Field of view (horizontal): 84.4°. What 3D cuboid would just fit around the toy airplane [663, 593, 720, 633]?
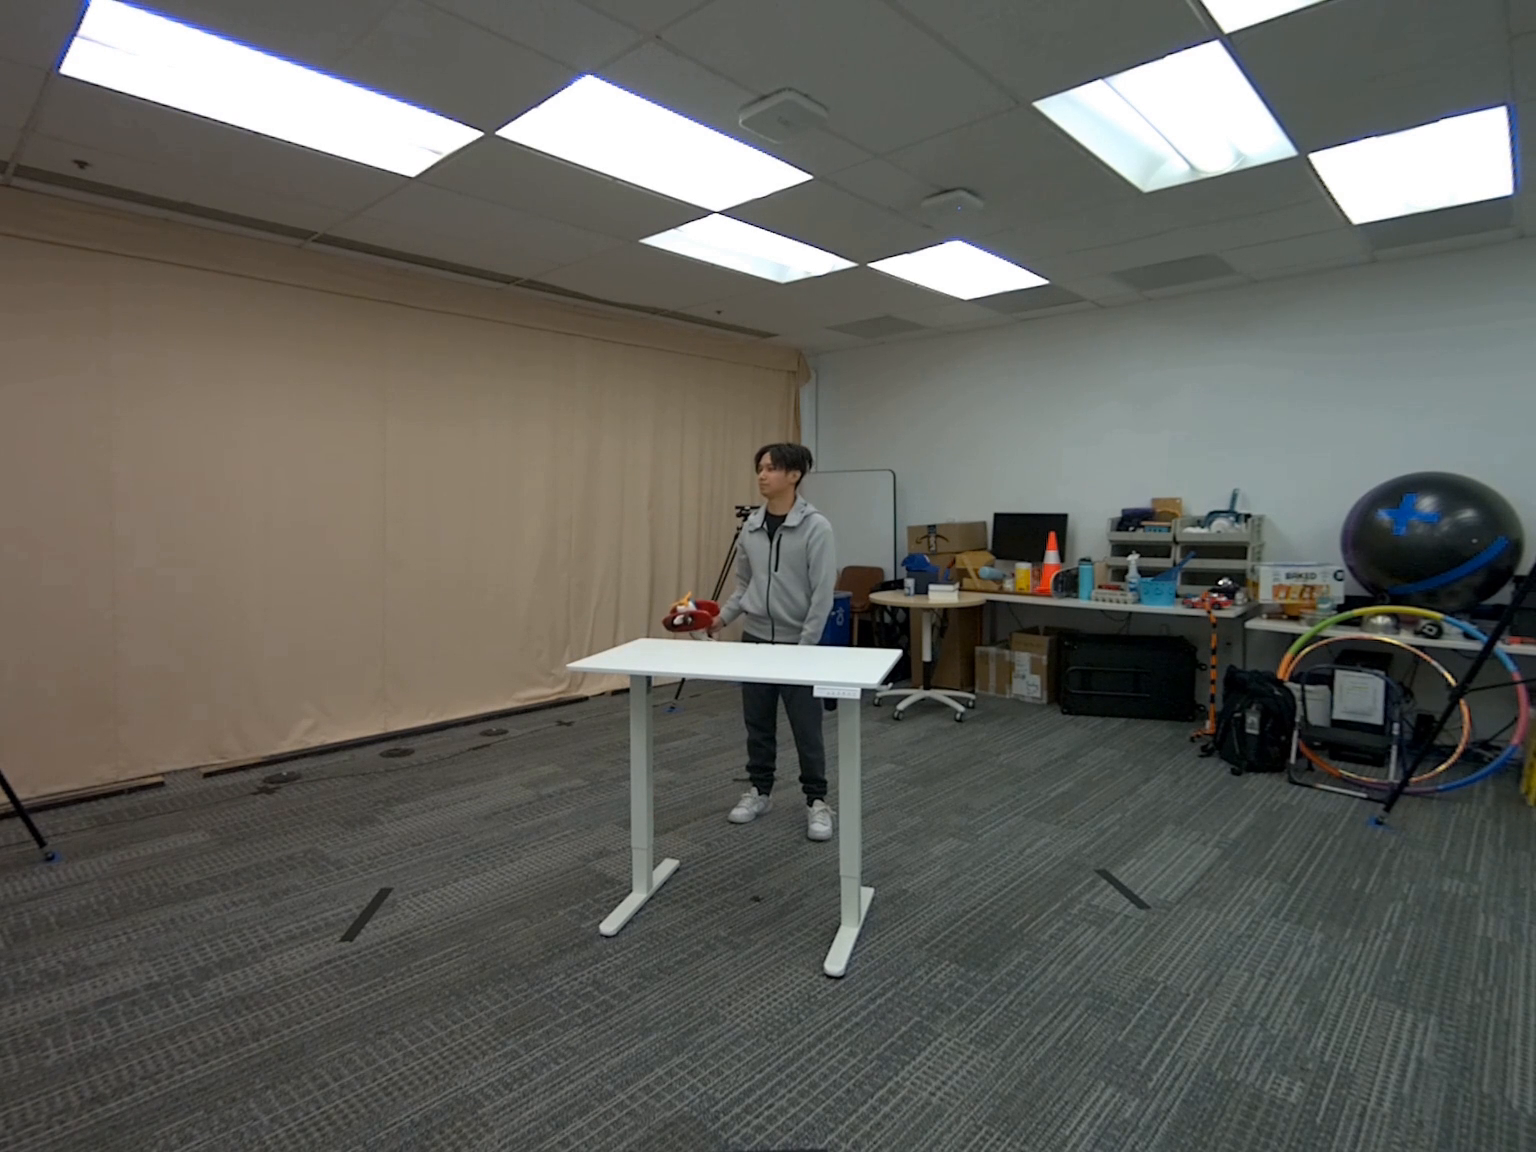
[{"bbox_3d":[-0.340,0.221,3.686,0.255,0.254,0.157,10,46,12],"label":"toy airplane"}]
